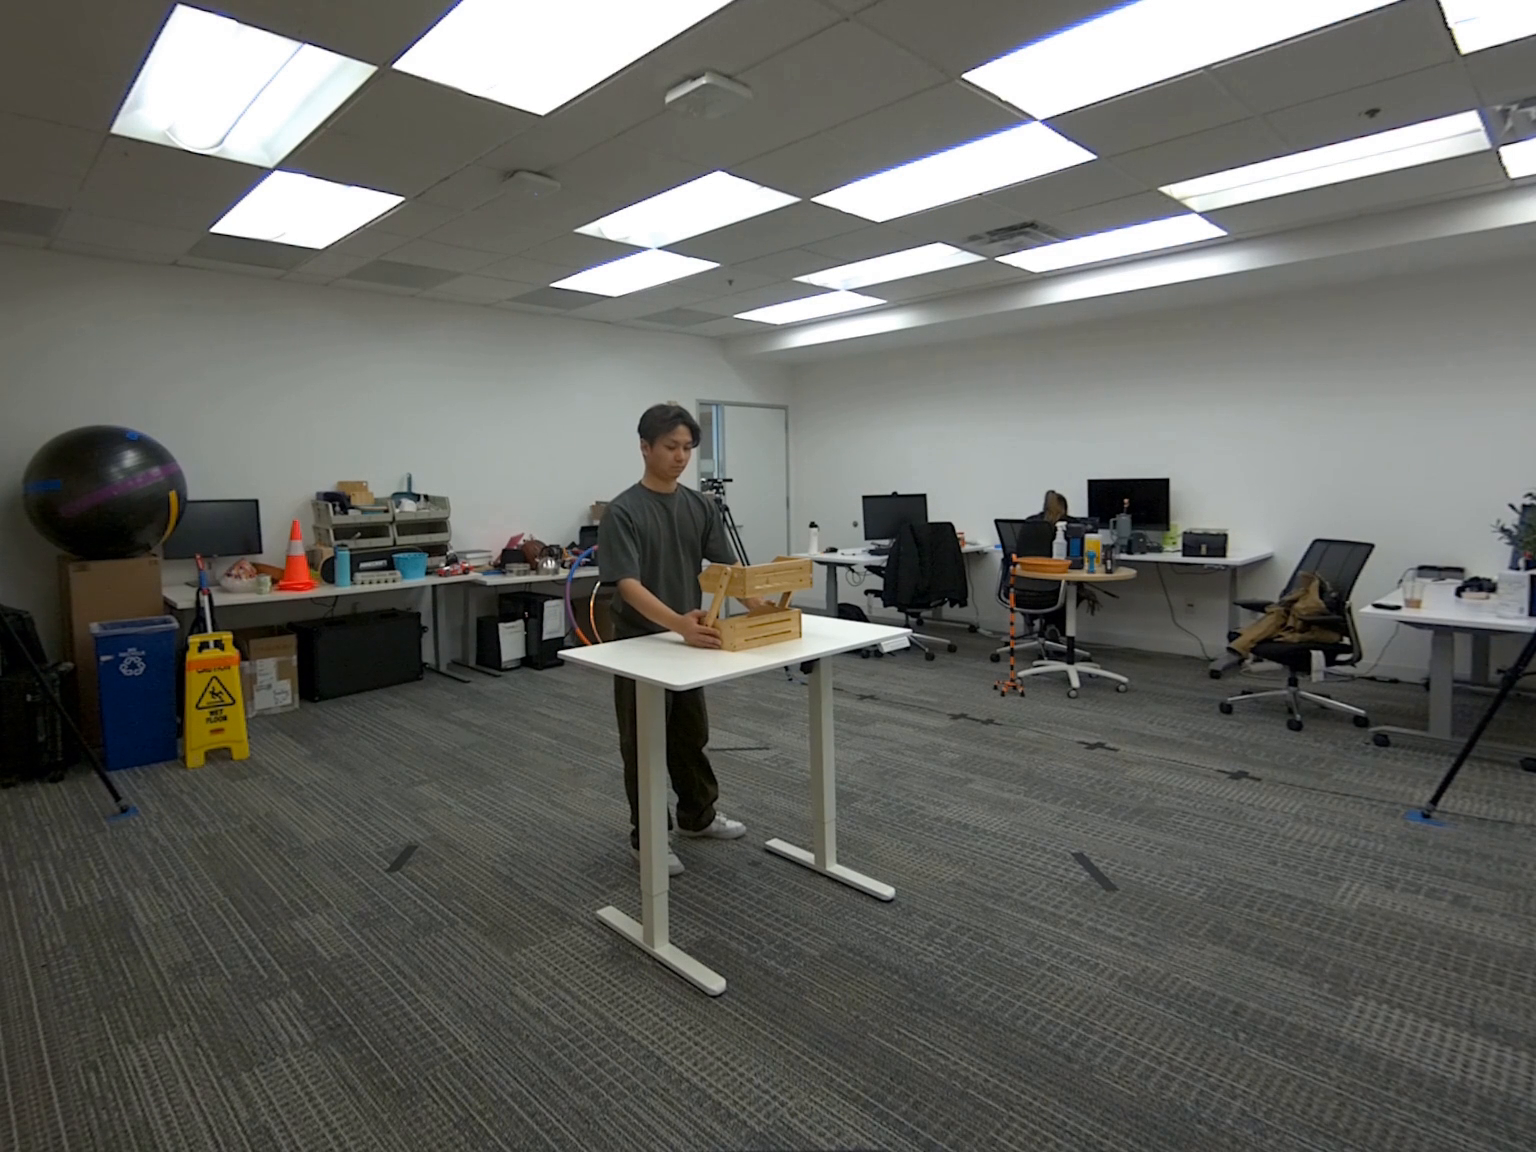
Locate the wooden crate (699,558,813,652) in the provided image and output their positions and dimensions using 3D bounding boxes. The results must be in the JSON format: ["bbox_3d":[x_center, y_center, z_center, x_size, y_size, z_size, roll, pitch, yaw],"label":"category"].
[{"bbox_3d":[-0.066,0.074,2.719,0.316,0.272,0.311,-7,9,-42],"label":"wooden crate"}]
